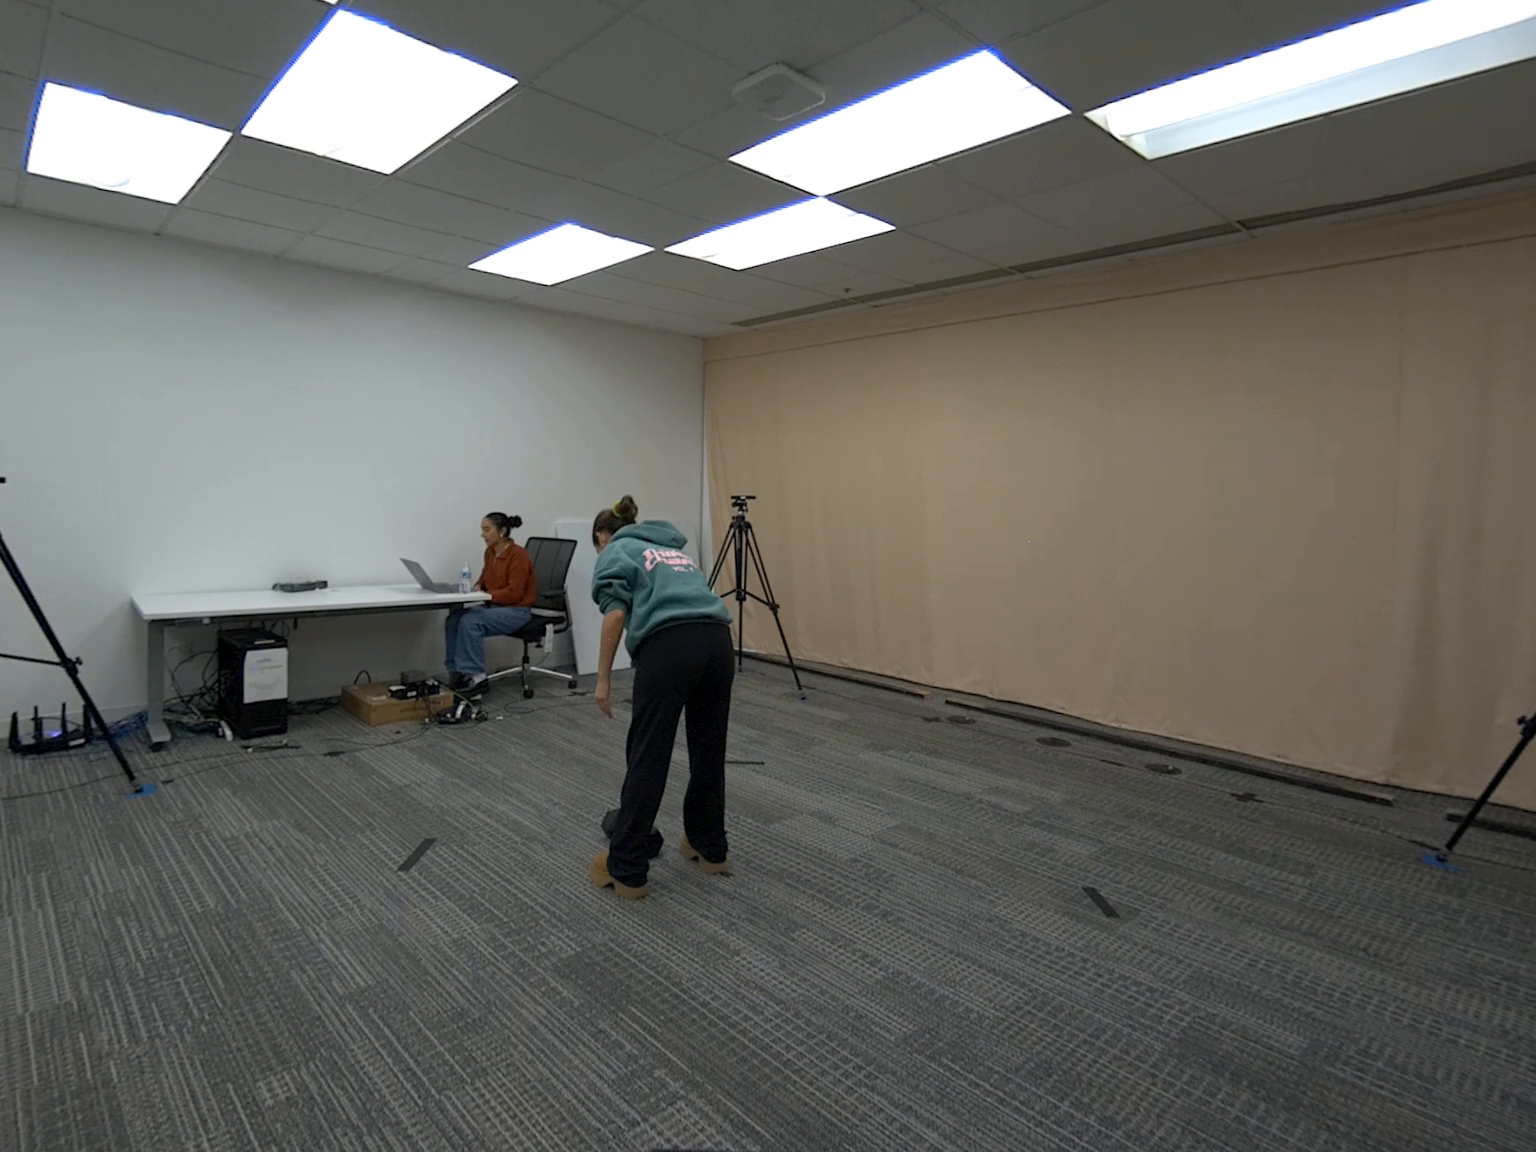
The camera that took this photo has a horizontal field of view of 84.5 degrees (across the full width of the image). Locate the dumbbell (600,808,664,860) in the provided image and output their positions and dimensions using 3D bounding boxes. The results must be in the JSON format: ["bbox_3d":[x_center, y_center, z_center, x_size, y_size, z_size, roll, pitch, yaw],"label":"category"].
[{"bbox_3d":[-0.551,1.024,3.334,0.120,0.108,0.301,-2,6,-41],"label":"dumbbell"}]
